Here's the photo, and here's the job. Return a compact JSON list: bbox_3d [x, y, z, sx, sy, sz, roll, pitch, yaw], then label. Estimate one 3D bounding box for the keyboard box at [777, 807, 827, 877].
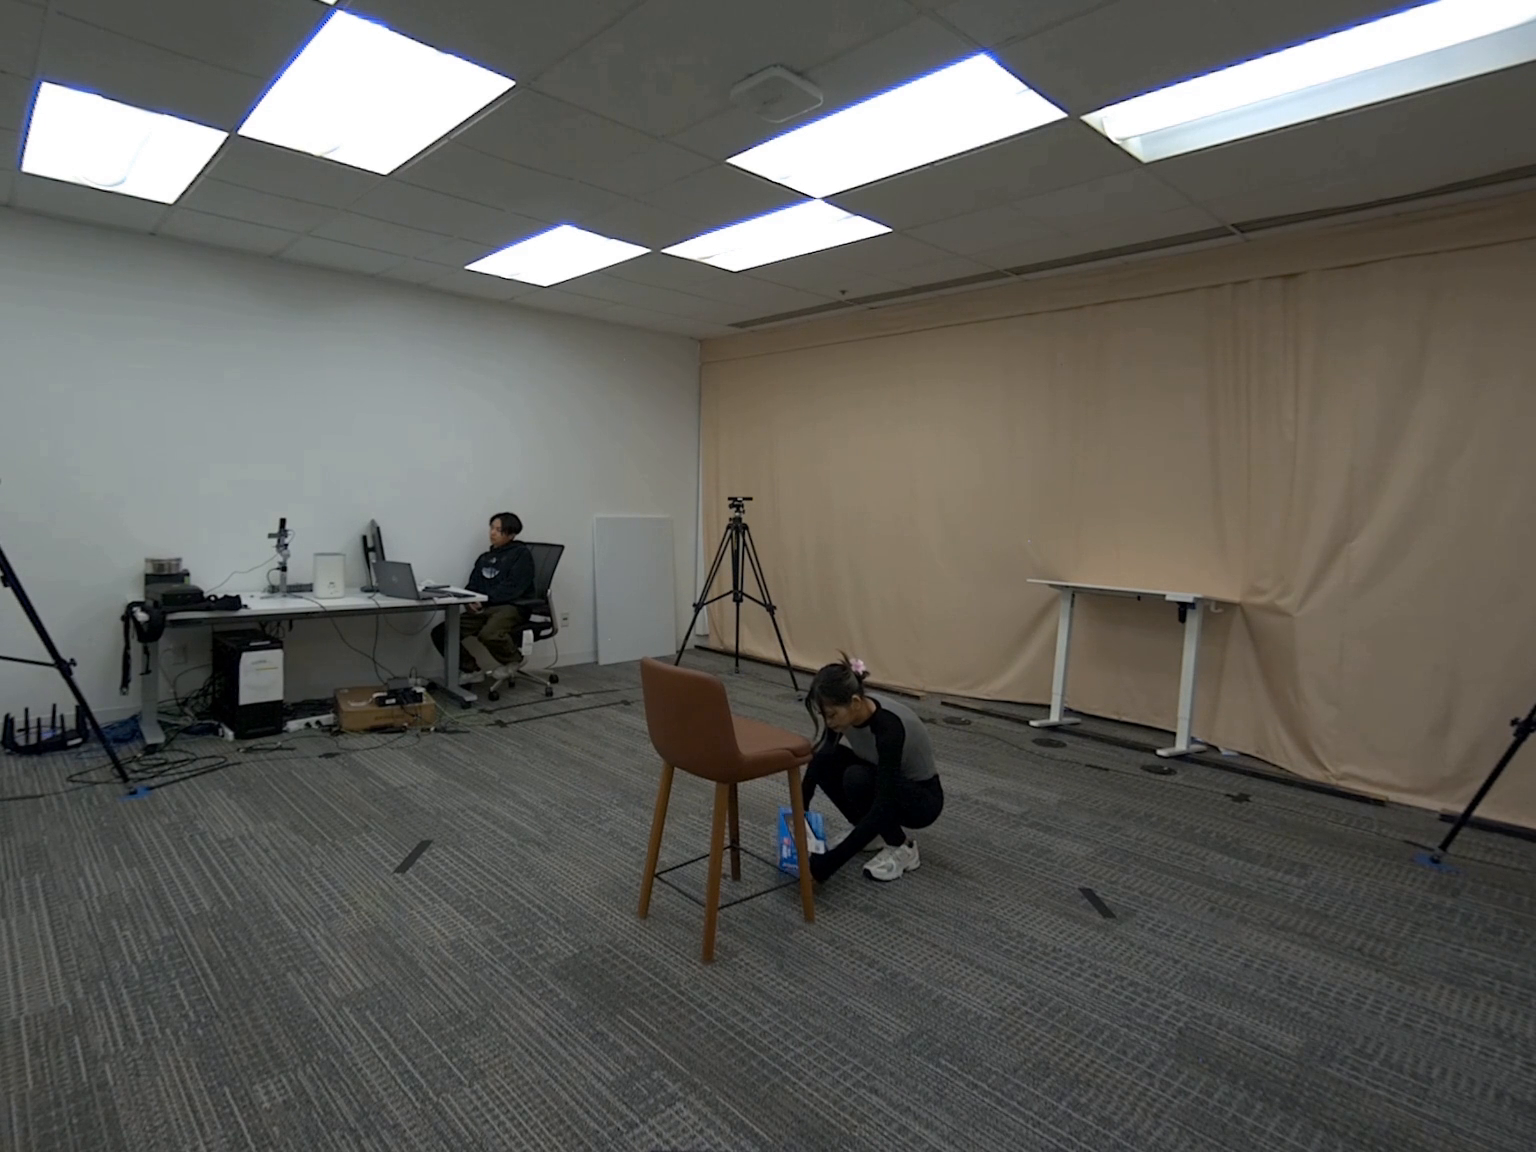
[{"bbox_3d":[0.119,0.988,3.121,0.176,0.059,0.438,11,8,1],"label":"keyboard box"}]
